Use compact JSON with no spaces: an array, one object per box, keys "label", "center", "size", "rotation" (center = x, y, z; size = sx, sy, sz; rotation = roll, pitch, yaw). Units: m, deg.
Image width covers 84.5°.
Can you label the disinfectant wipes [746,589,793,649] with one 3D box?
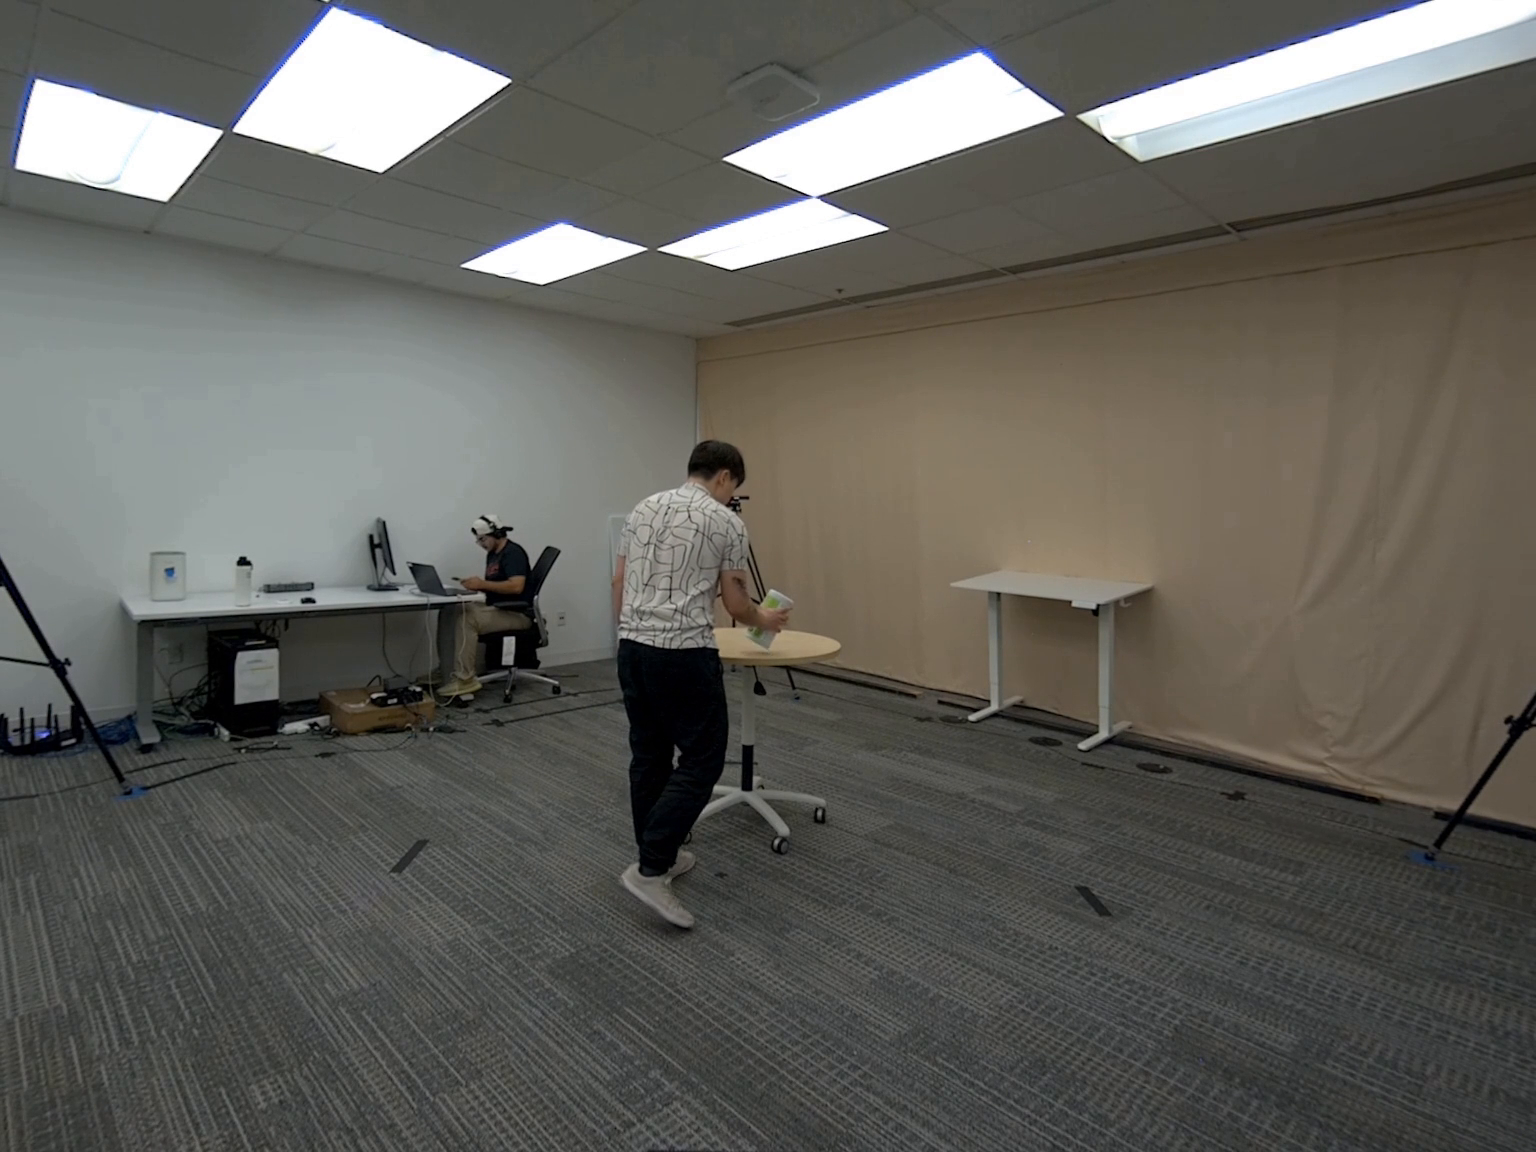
[{"label":"disinfectant wipes","center":[0.001,0.170,3.312],"size":[0.118,0.217,0.118],"rotation":[27,-2,-1]}]
